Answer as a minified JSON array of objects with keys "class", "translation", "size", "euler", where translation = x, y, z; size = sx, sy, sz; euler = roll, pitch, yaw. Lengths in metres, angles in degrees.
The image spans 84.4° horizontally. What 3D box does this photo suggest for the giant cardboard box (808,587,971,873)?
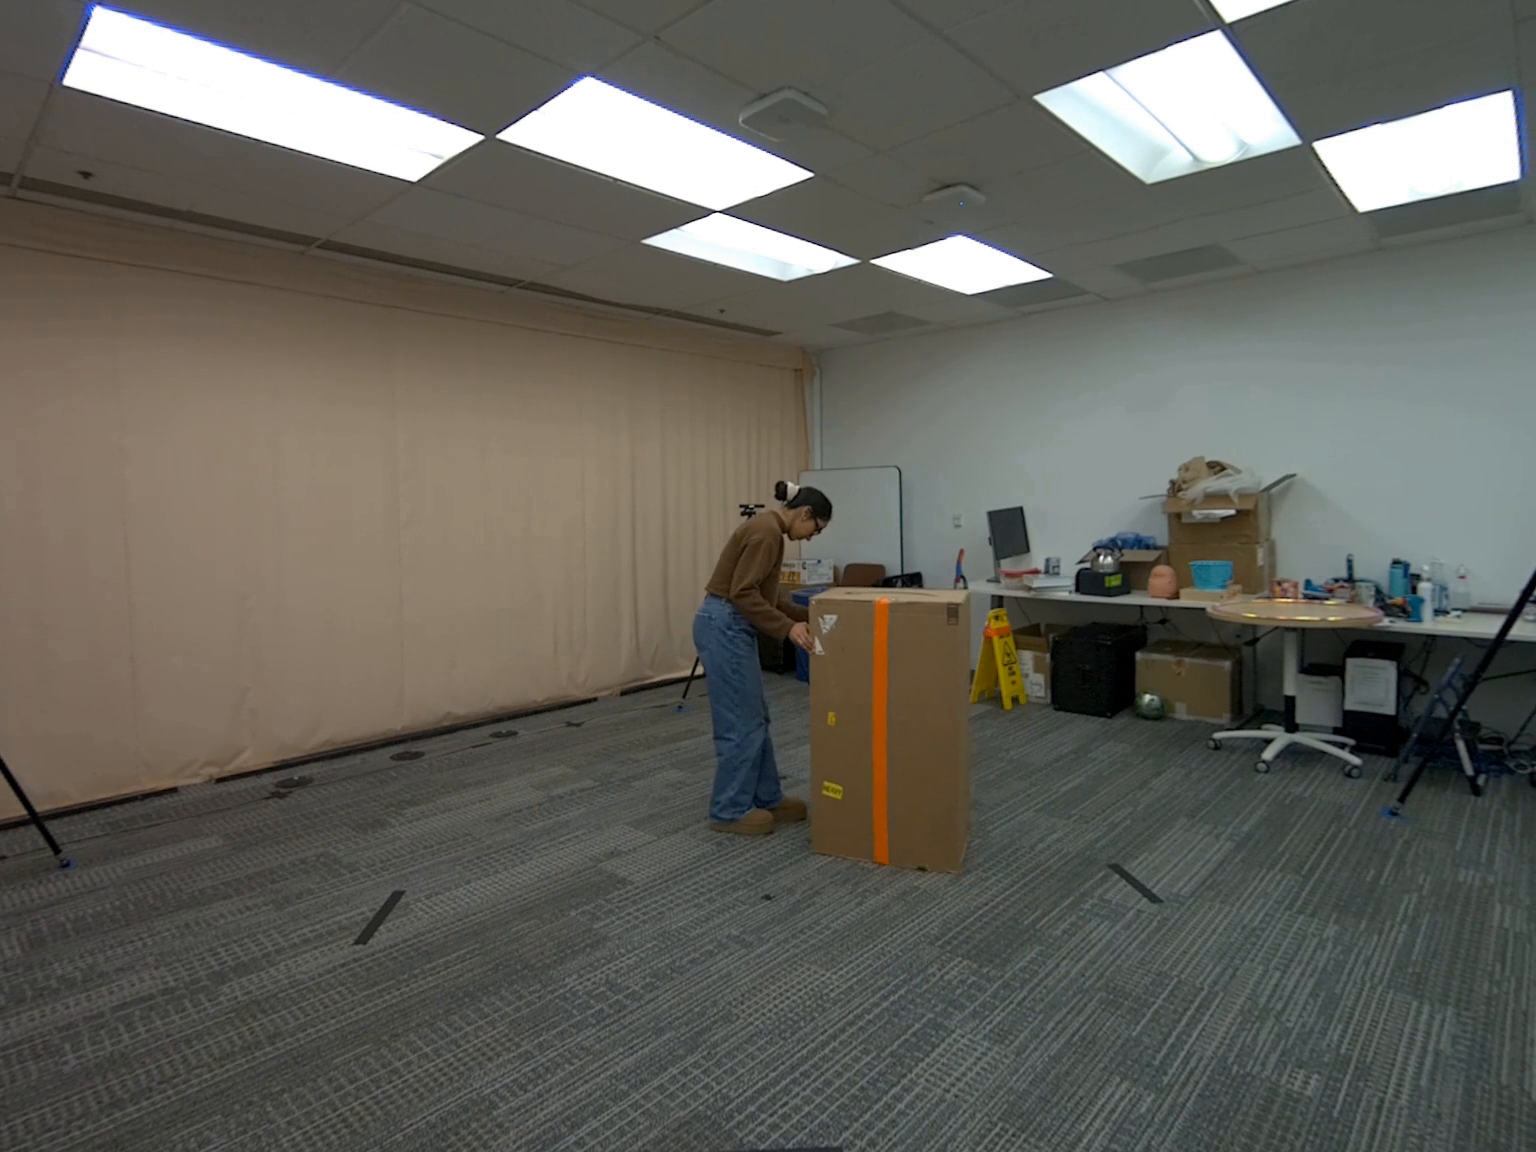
[{"class":"giant cardboard box","translation":[0.508,0.583,3.404],"size":[0.591,1.023,0.418],"euler":[1,4,22]}]
